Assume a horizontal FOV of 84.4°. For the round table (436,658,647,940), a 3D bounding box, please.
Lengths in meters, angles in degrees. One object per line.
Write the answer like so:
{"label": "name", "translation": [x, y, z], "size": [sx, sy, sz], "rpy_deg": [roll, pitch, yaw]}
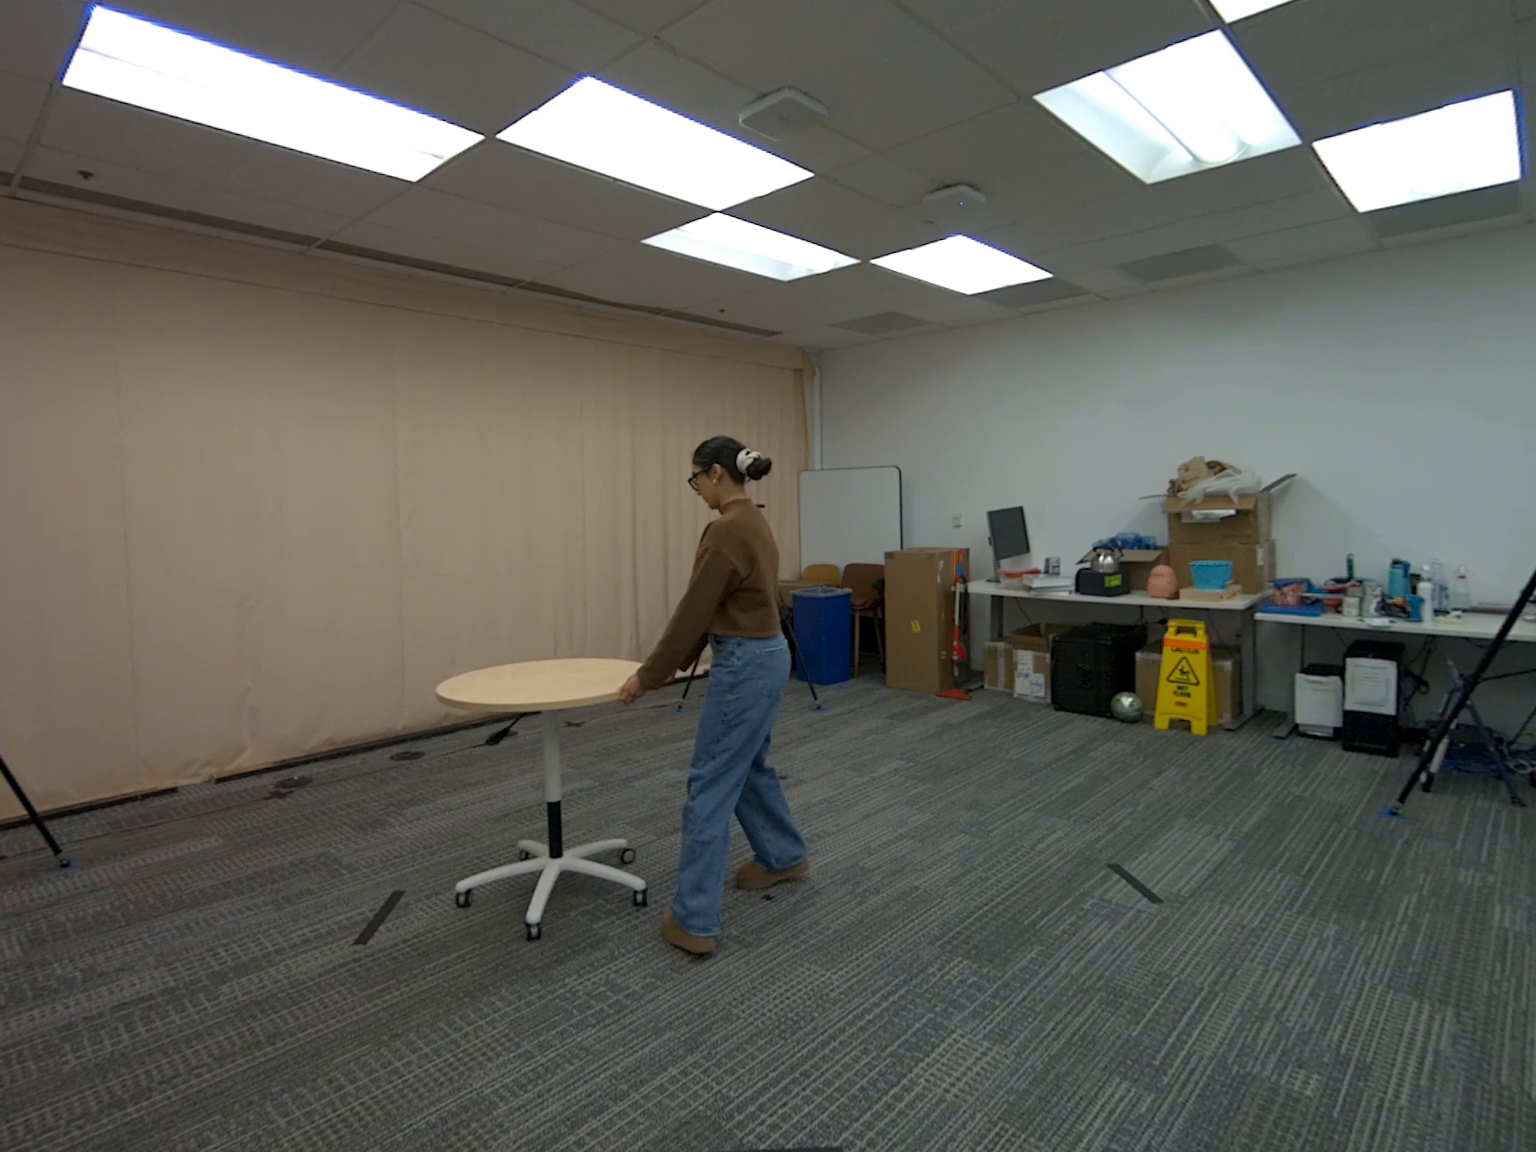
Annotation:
{"label": "round table", "translation": [-0.735, 0.756, 3.038], "size": [0.784, 0.785, 0.788], "rpy_deg": [-2, 4, -2]}
